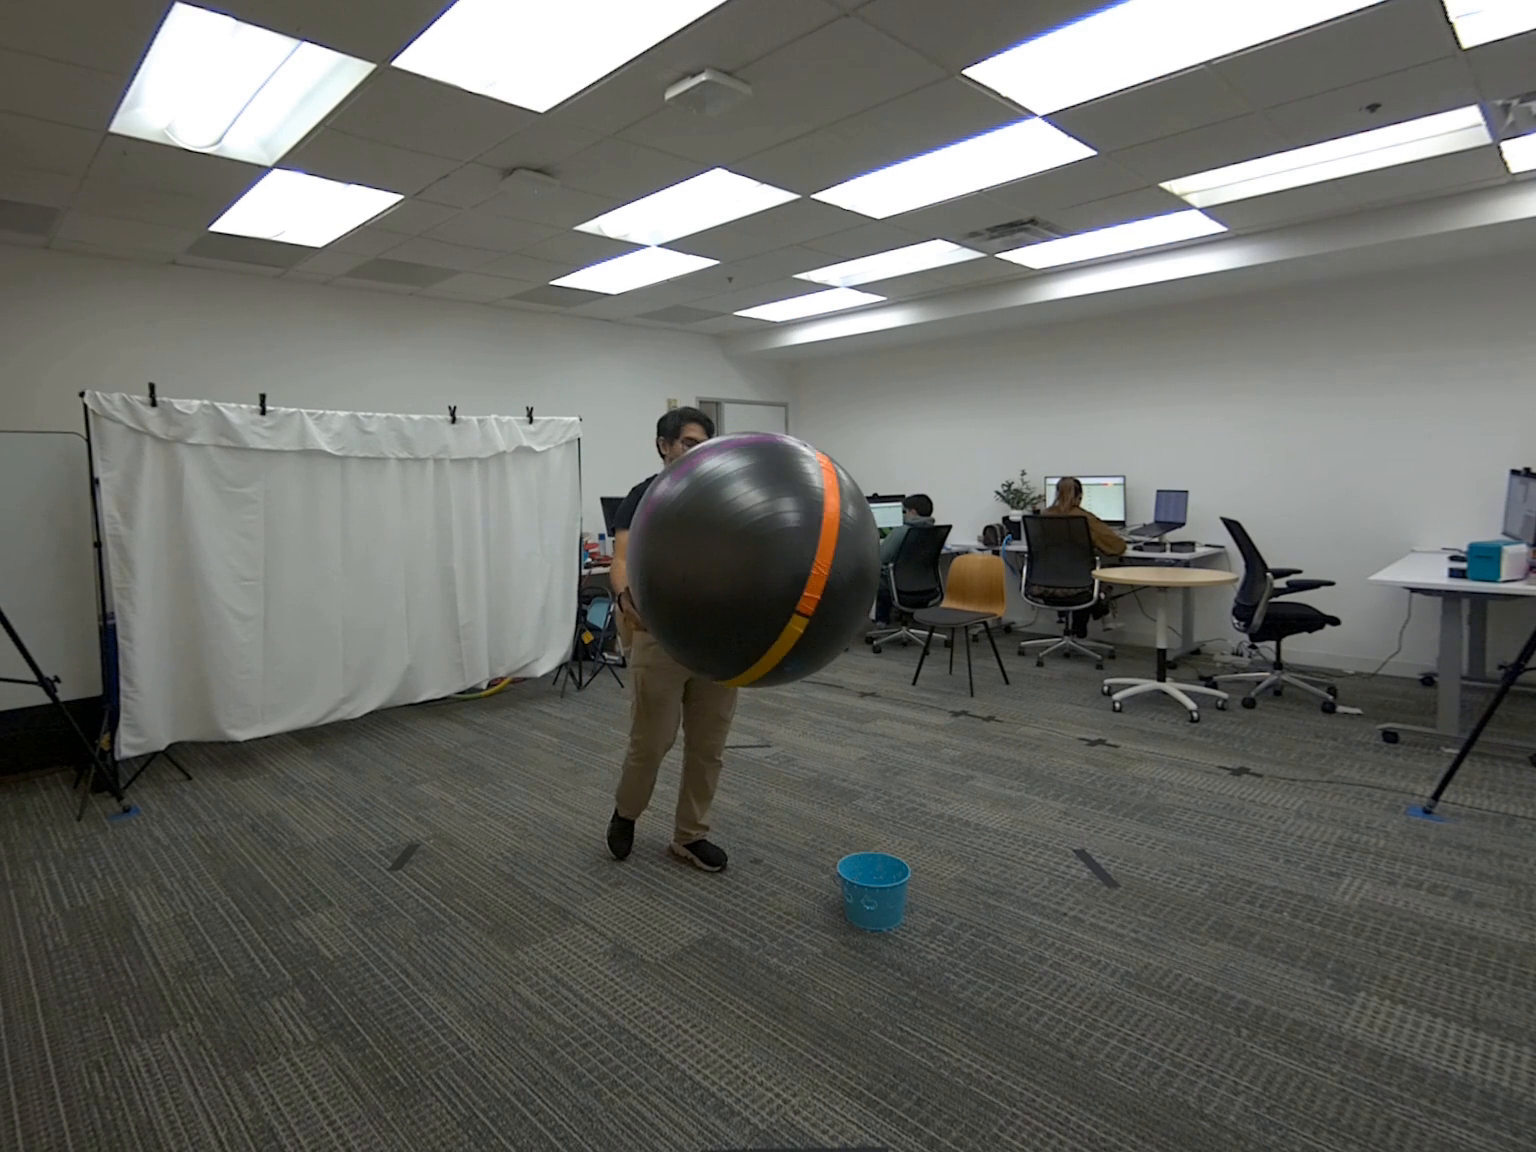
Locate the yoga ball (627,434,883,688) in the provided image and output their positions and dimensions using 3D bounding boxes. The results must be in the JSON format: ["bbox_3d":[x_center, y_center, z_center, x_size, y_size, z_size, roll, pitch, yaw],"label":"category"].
[{"bbox_3d":[-0.040,-0.041,2.536,0.757,0.755,0.762,-1,5,-2],"label":"yoga ball"}]
